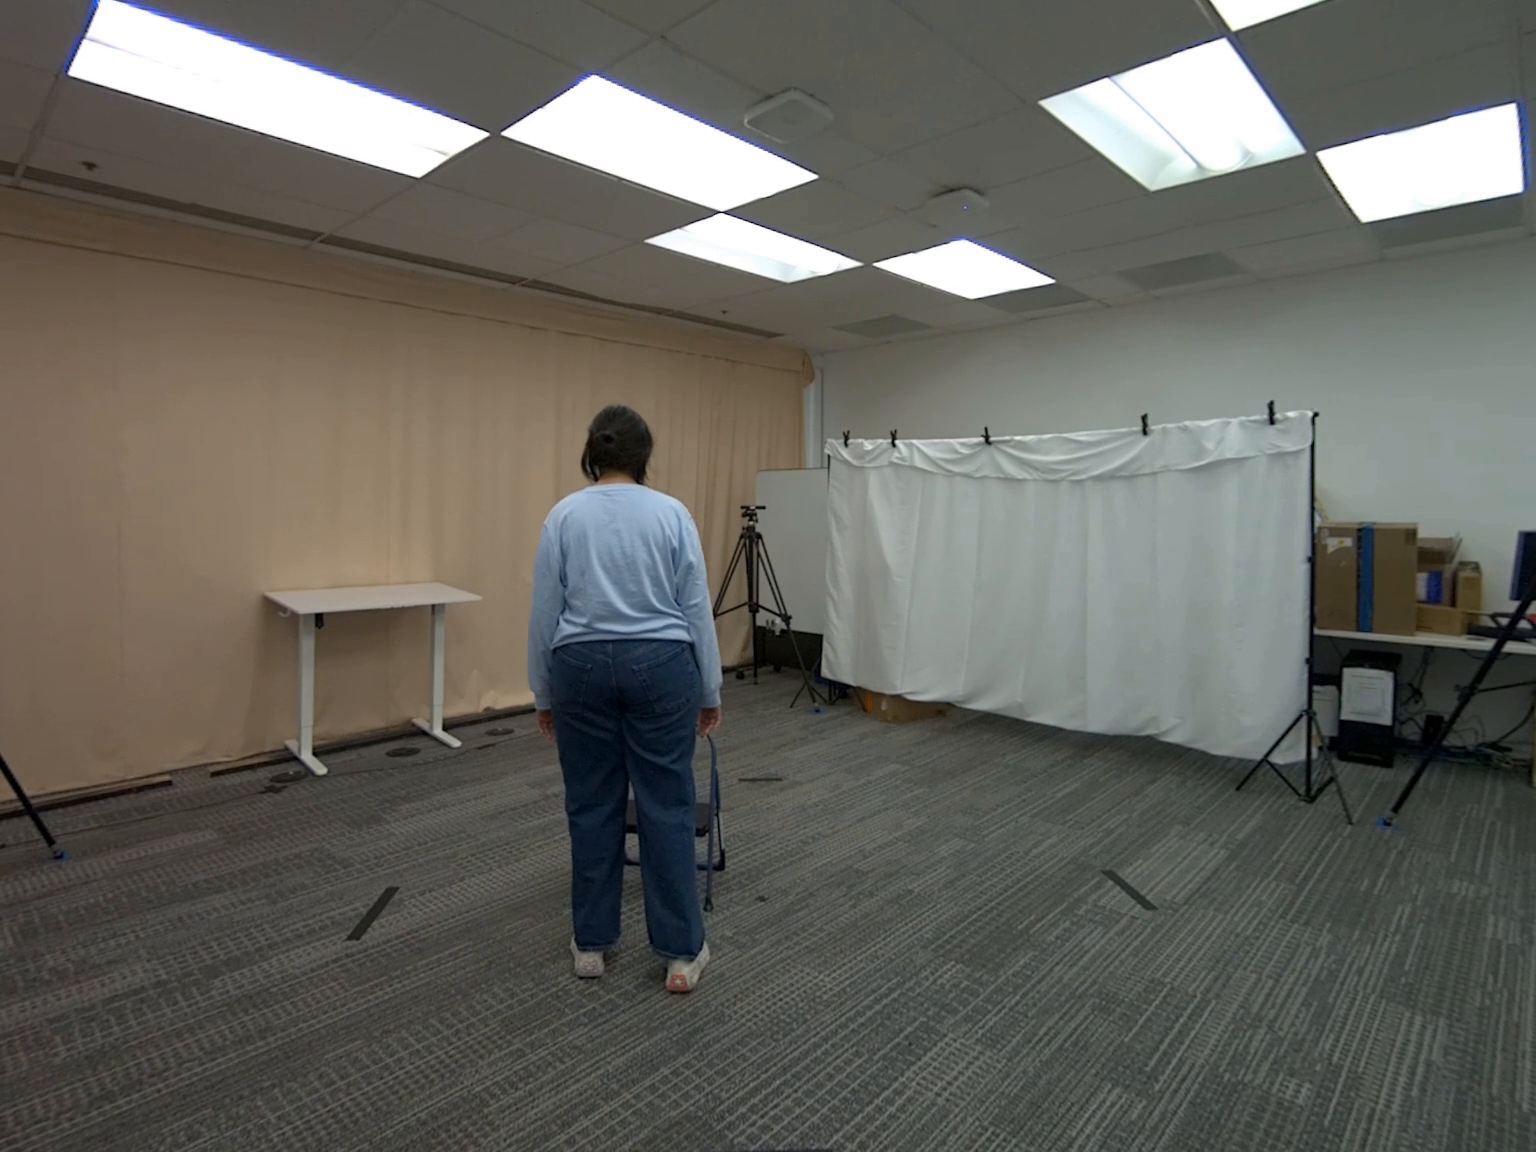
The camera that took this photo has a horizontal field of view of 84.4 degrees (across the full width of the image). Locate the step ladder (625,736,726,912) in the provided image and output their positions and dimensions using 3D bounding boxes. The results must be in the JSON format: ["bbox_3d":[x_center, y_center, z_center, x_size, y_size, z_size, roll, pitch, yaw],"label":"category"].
[{"bbox_3d":[-0.388,0.838,3.086,0.435,0.604,0.347,0,4,9],"label":"step ladder"}]
